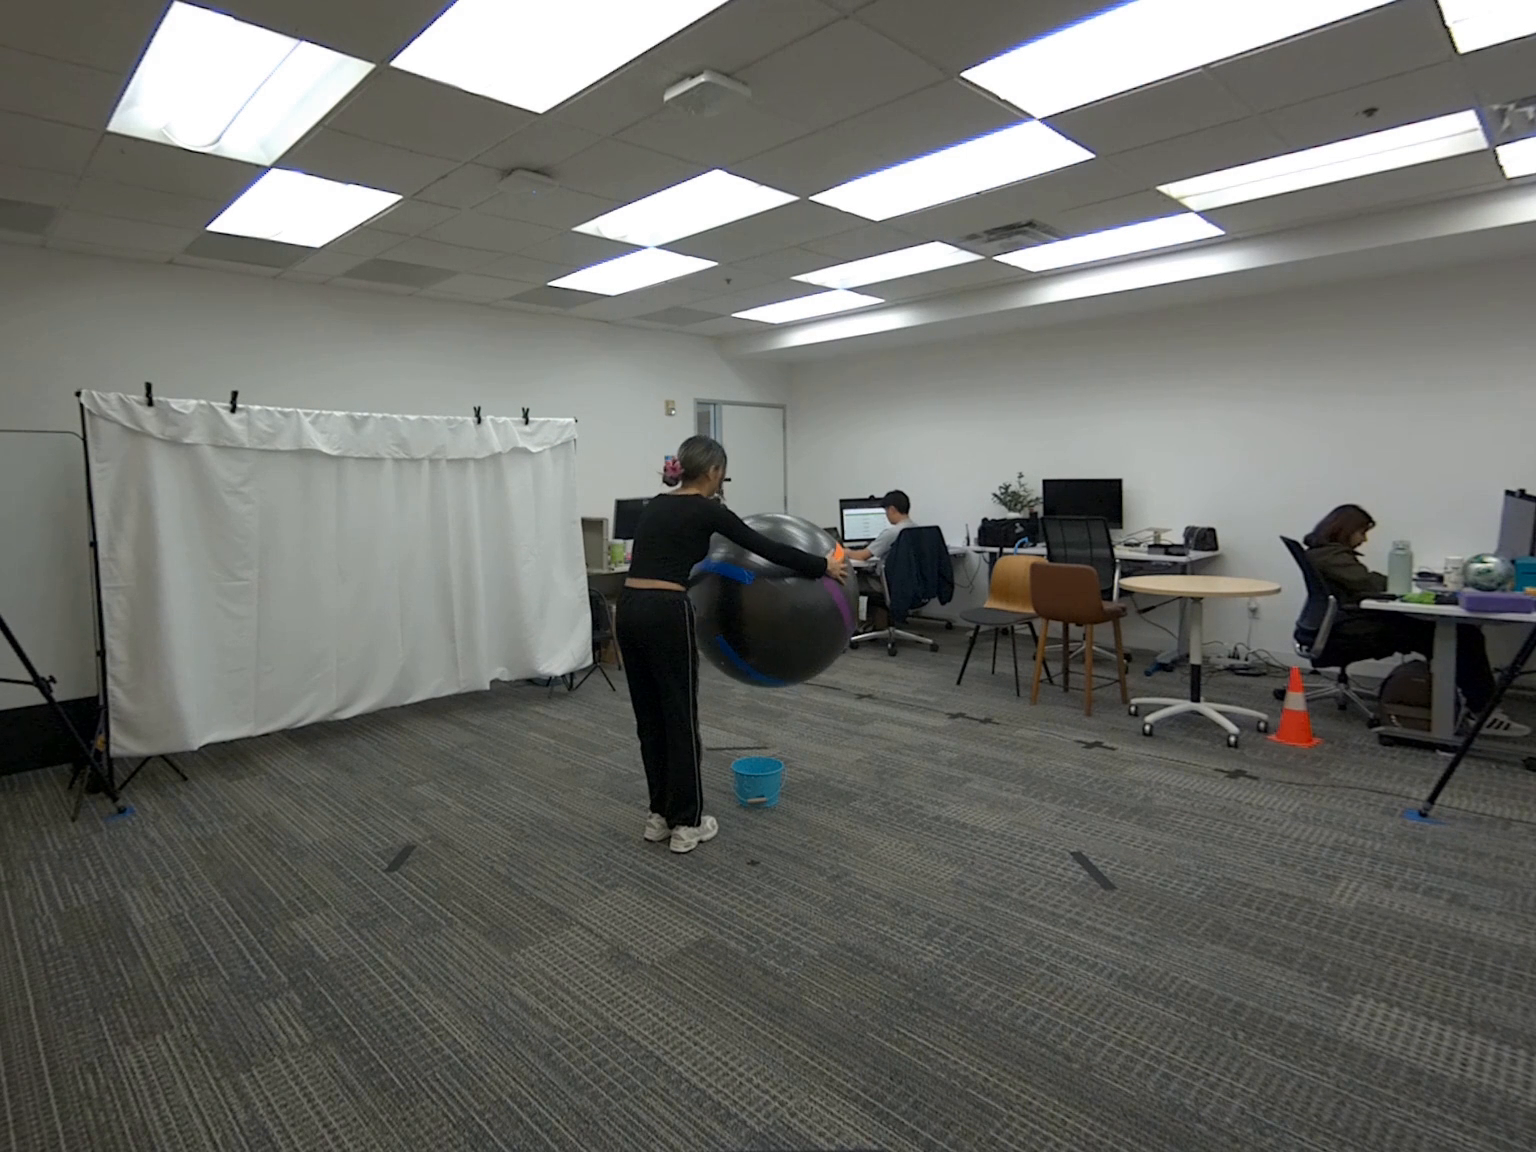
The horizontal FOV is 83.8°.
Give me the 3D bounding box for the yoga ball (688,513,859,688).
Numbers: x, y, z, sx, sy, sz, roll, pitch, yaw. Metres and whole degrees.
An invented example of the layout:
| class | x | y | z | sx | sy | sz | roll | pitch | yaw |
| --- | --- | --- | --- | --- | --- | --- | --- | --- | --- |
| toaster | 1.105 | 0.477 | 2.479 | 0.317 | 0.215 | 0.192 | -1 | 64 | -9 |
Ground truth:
| class | x | y | z | sx | sy | sz | roll | pitch | yaw |
| --- | --- | --- | --- | --- | --- | --- | --- | --- | --- |
| yoga ball | 0.017 | 0.114 | 3.718 | 0.757 | 0.755 | 0.762 | -1 | 5 | -2 |
